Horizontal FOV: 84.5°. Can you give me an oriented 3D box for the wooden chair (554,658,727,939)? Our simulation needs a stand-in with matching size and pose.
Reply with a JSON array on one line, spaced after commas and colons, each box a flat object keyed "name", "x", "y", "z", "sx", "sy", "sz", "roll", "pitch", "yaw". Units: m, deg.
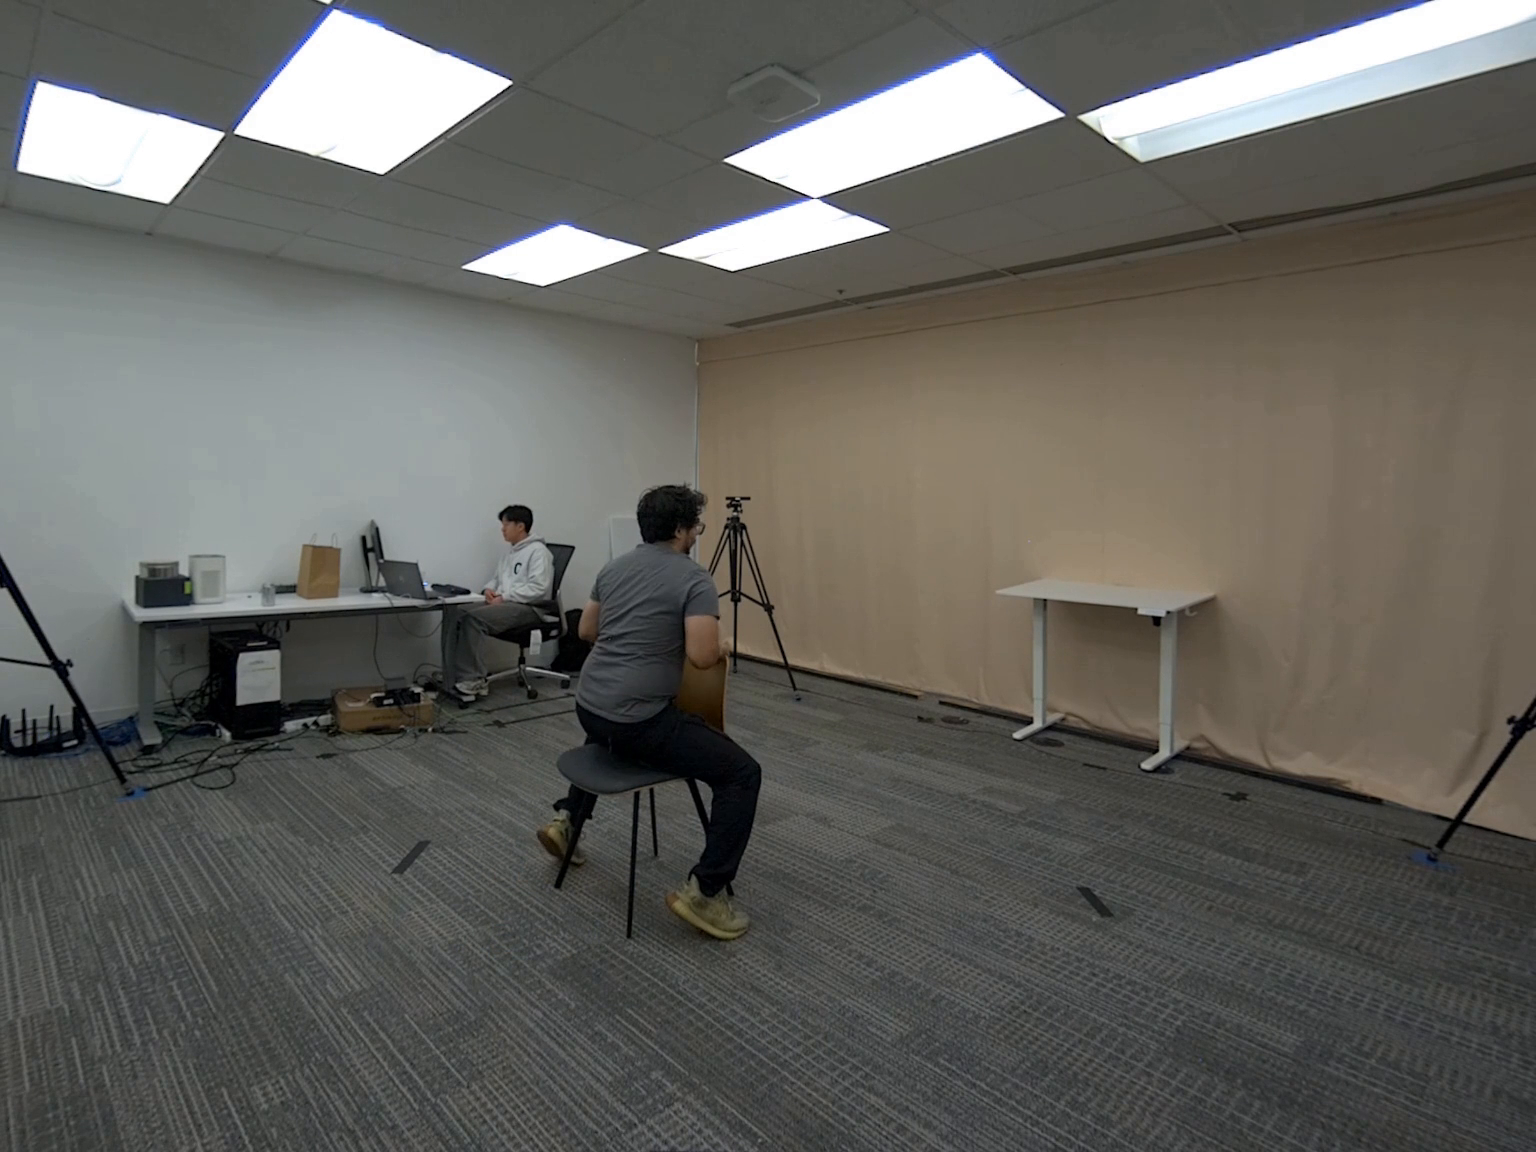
[{"name": "wooden chair", "x": -0.437, "y": 0.688, "z": 2.923, "sx": 0.510, "sy": 0.877, "sz": 0.490, "roll": 4, "pitch": 1, "yaw": -44}]
